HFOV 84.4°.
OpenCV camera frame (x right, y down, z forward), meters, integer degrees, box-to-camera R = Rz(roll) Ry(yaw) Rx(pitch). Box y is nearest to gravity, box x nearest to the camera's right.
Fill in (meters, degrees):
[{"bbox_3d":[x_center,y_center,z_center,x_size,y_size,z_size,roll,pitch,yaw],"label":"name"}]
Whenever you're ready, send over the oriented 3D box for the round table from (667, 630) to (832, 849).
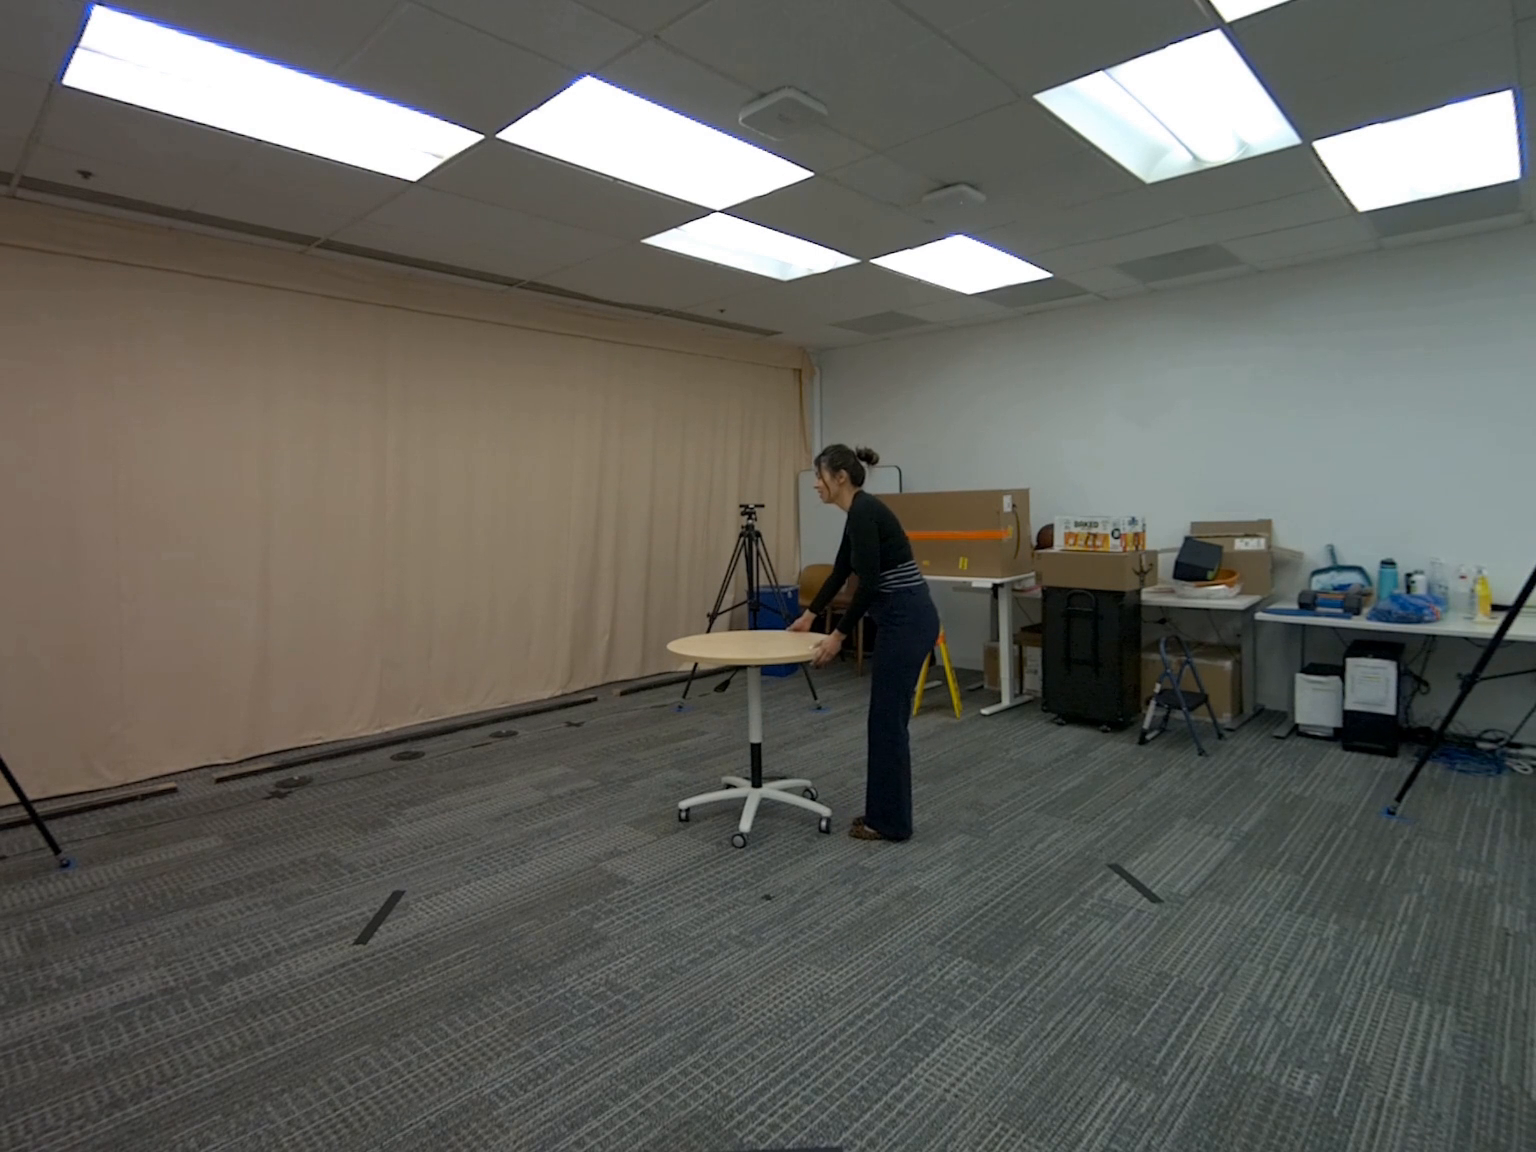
[{"bbox_3d":[-0.050,0.690,3.728,0.763,0.792,0.766,-1,3,-2],"label":"round table"}]
